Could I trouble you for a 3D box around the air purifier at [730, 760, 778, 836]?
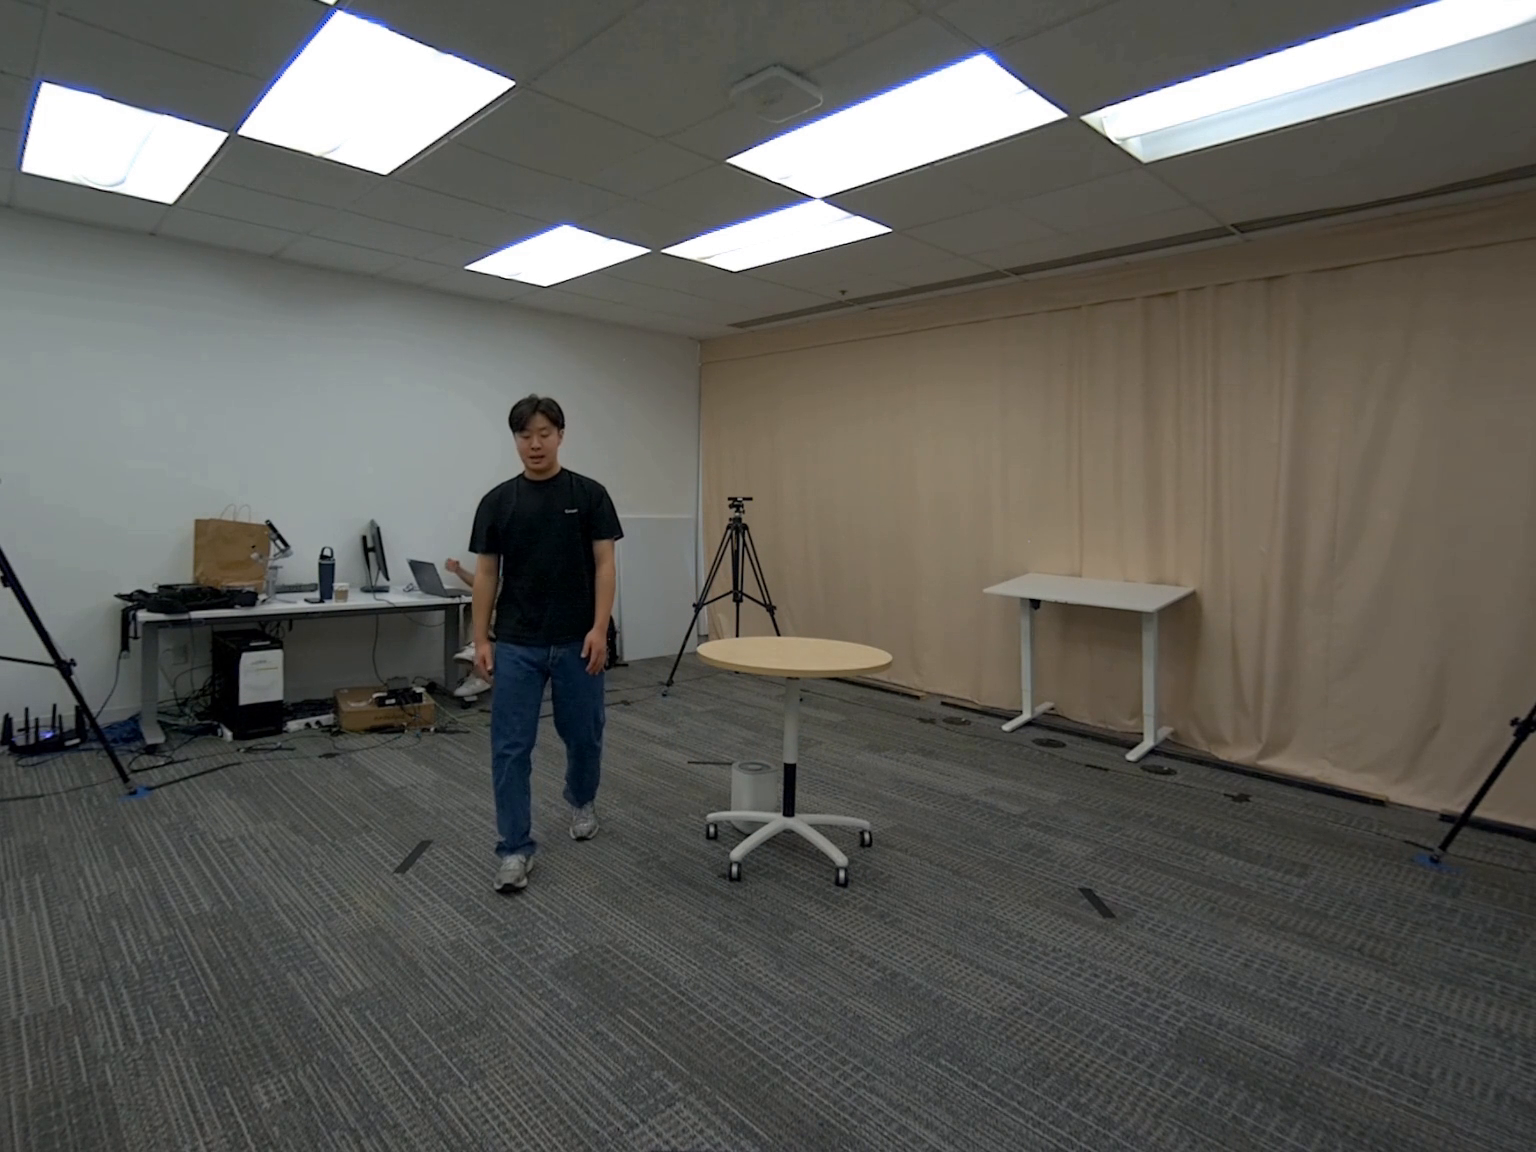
[{"bbox_3d":[-0.079,0.939,3.575,0.167,0.264,0.176,-2,7,-33],"label":"air purifier"}]
